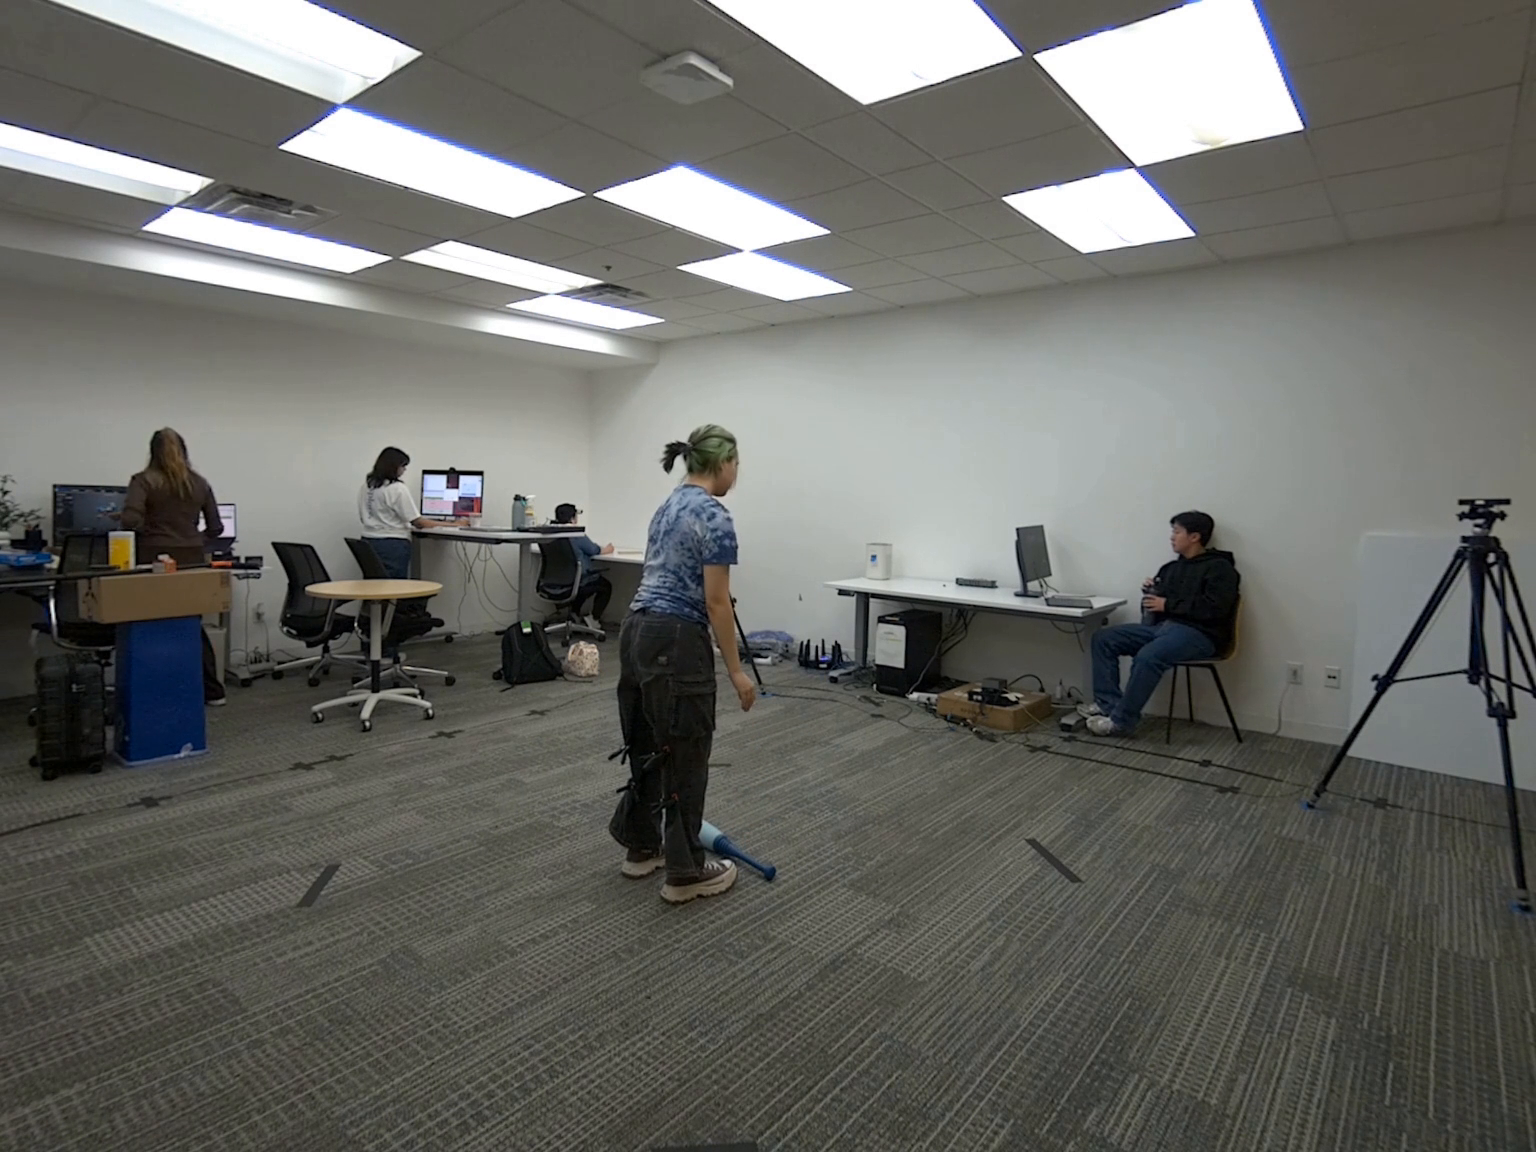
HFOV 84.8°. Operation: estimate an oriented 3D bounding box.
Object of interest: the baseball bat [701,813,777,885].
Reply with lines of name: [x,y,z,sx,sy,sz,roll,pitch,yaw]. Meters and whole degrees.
baseball bat: [-0.182,1.017,3.226,0.086,0.088,0.562,-2,8,-39]
